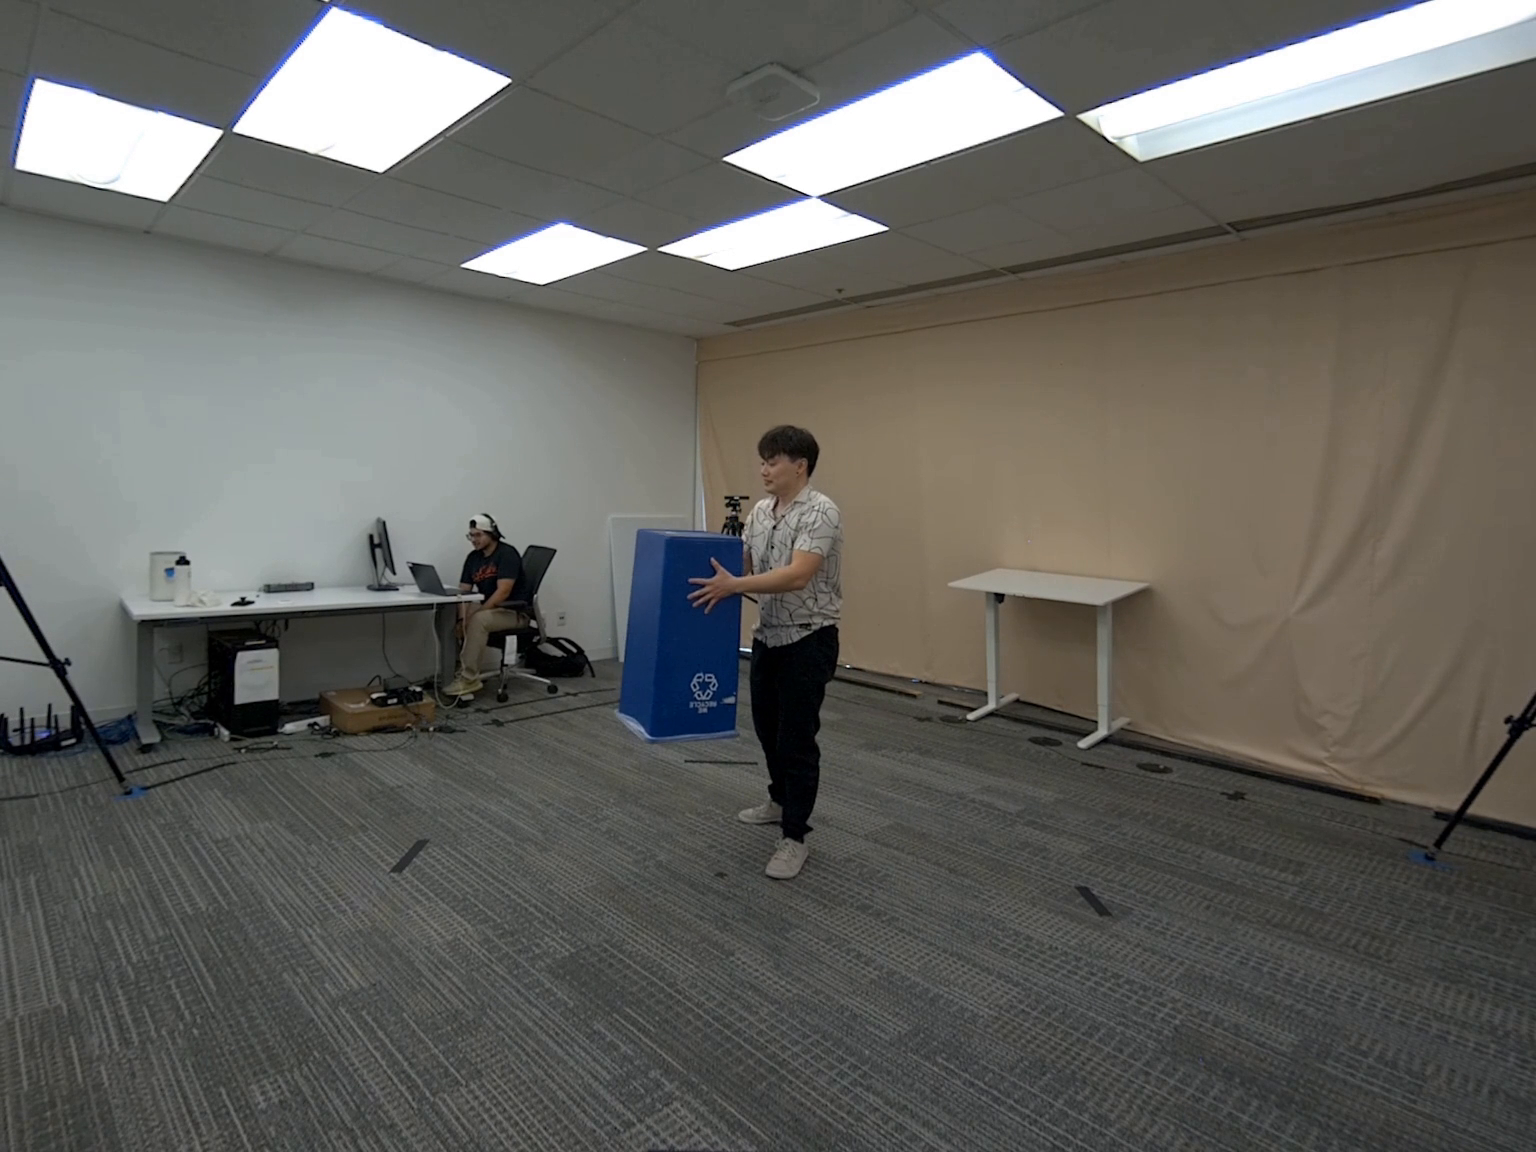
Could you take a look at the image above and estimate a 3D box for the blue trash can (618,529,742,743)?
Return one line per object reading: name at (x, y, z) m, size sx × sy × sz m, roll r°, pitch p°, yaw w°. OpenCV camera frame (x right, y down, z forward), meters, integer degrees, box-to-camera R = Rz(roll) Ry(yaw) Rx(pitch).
blue trash can at (-0.317, 0.200, 3.057) m, size 0.370 × 0.711 × 0.383 m, roll 2°, pitch 5°, yaw -28°
